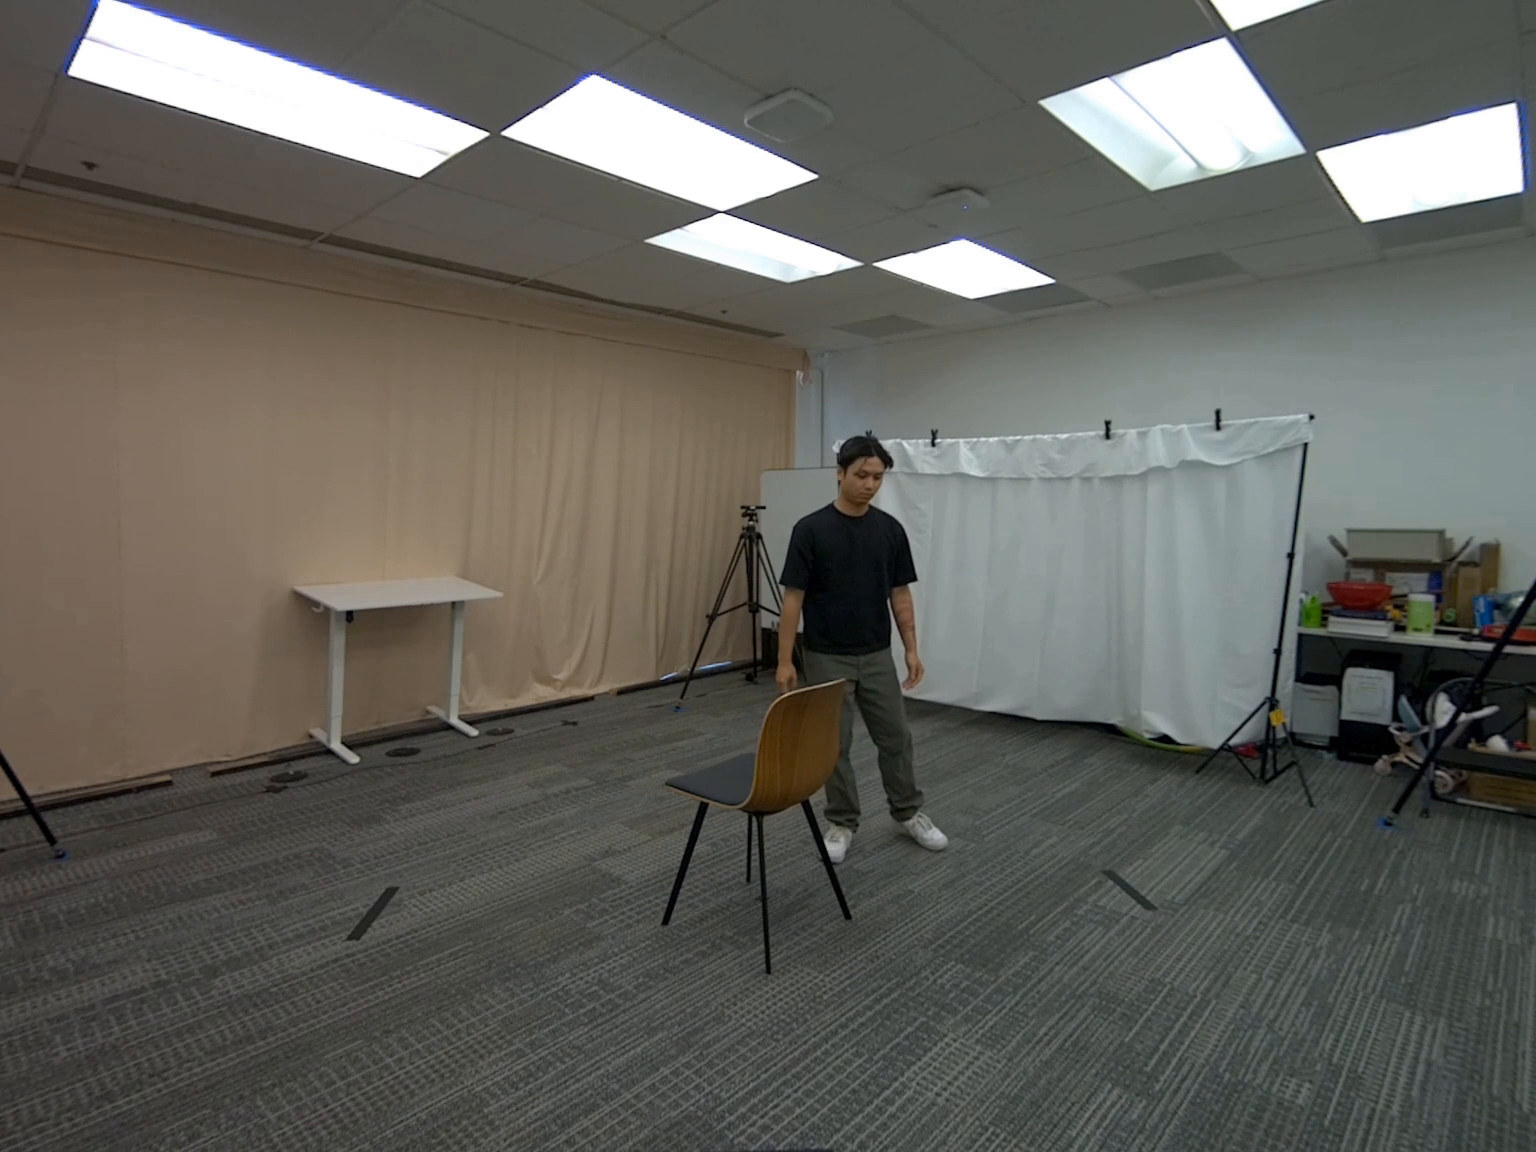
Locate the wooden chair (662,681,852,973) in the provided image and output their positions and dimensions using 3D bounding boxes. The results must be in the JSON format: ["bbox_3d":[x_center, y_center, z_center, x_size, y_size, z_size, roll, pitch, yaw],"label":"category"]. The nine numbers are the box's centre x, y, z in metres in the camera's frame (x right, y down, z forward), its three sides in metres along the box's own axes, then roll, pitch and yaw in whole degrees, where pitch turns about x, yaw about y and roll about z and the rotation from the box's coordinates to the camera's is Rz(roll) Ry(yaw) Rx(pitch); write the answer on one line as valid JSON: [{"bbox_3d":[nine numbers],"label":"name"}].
[{"bbox_3d":[-0.044,0.731,2.793,0.541,0.874,0.464,8,8,40],"label":"wooden chair"}]
